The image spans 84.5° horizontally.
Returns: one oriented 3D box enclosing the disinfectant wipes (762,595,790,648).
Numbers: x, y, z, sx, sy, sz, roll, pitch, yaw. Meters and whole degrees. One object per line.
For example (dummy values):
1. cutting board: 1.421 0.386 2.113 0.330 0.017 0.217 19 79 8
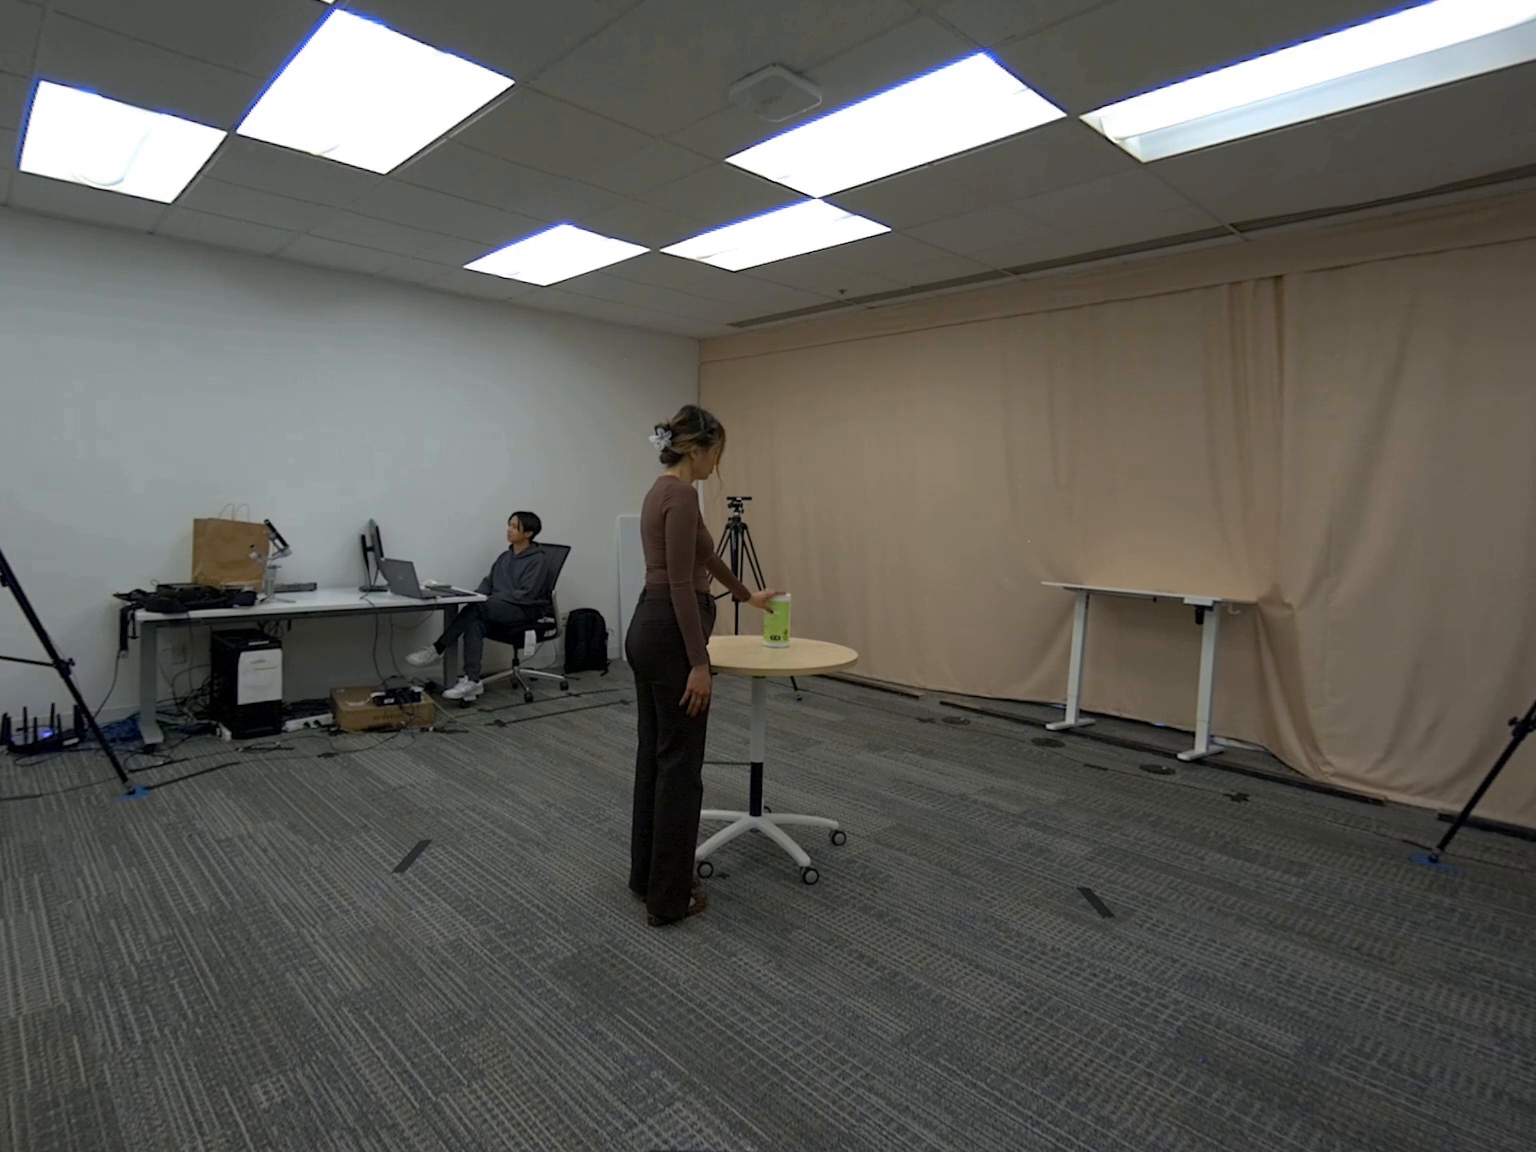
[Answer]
1. disinfectant wipes: 0.028 0.180 3.435 0.118 0.217 0.118 1 4 -1
